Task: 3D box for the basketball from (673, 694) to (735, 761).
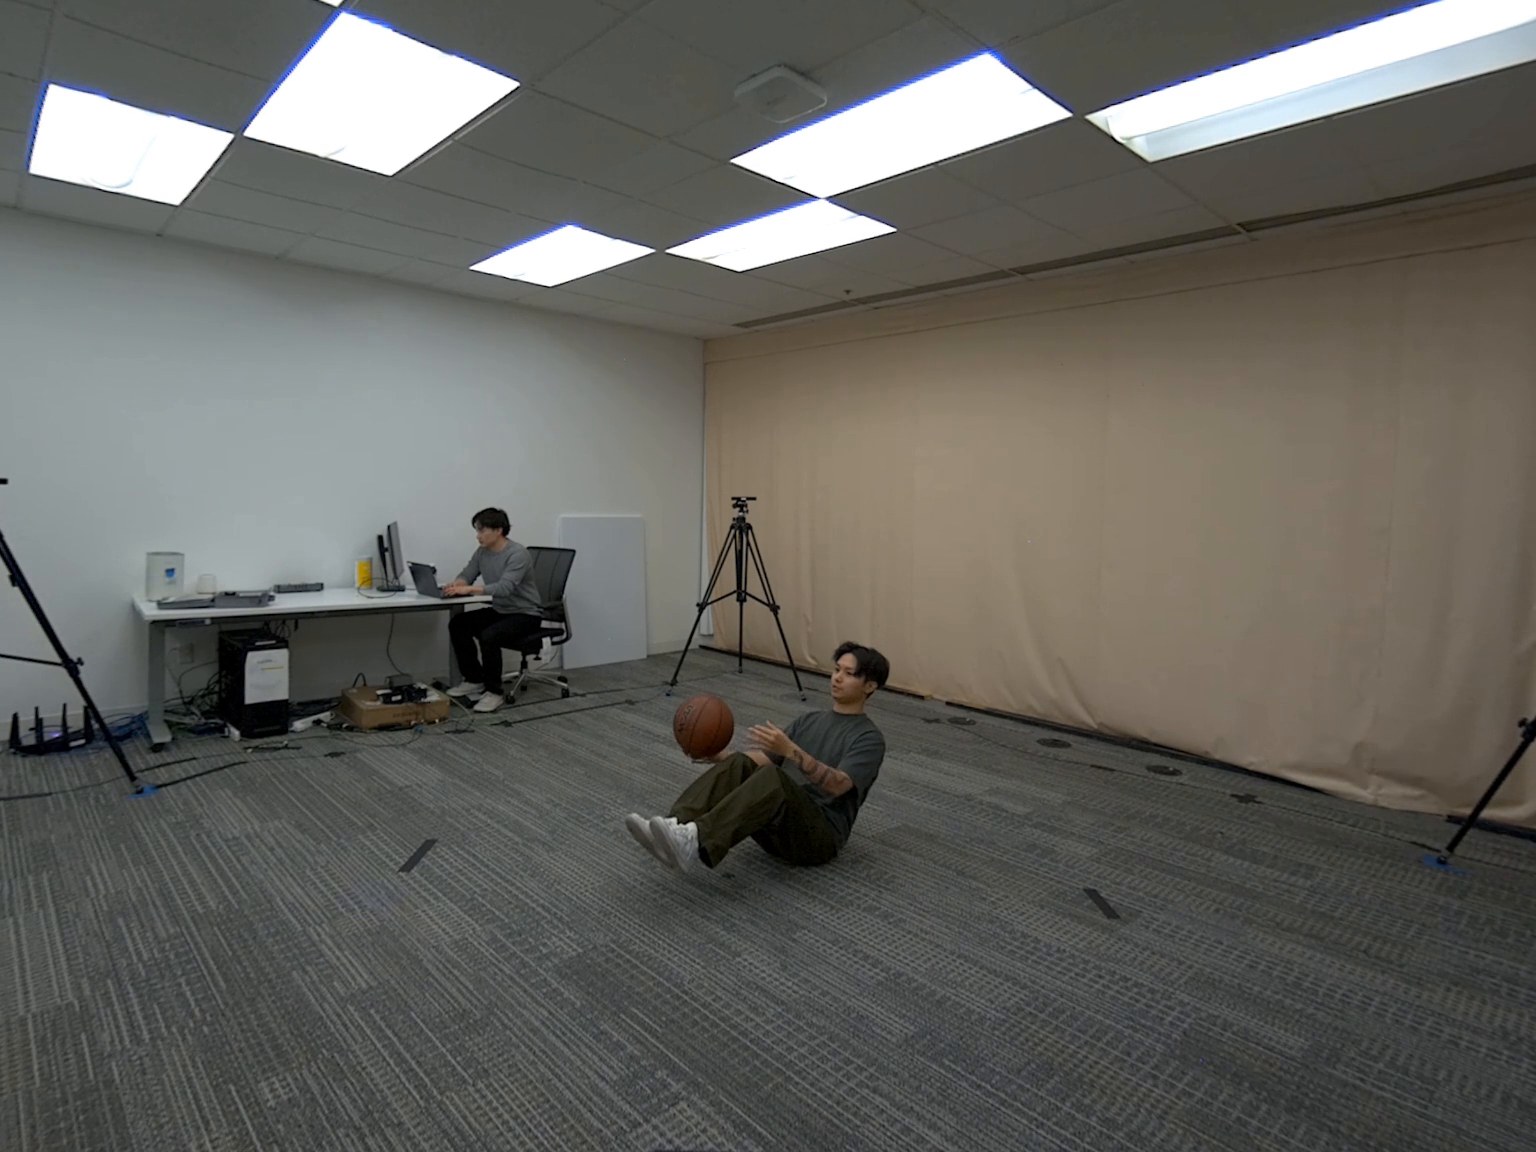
[{"bbox_3d":[-0.251,0.589,3.270,0.236,0.235,0.237,1,4,-1],"label":"basketball"}]
